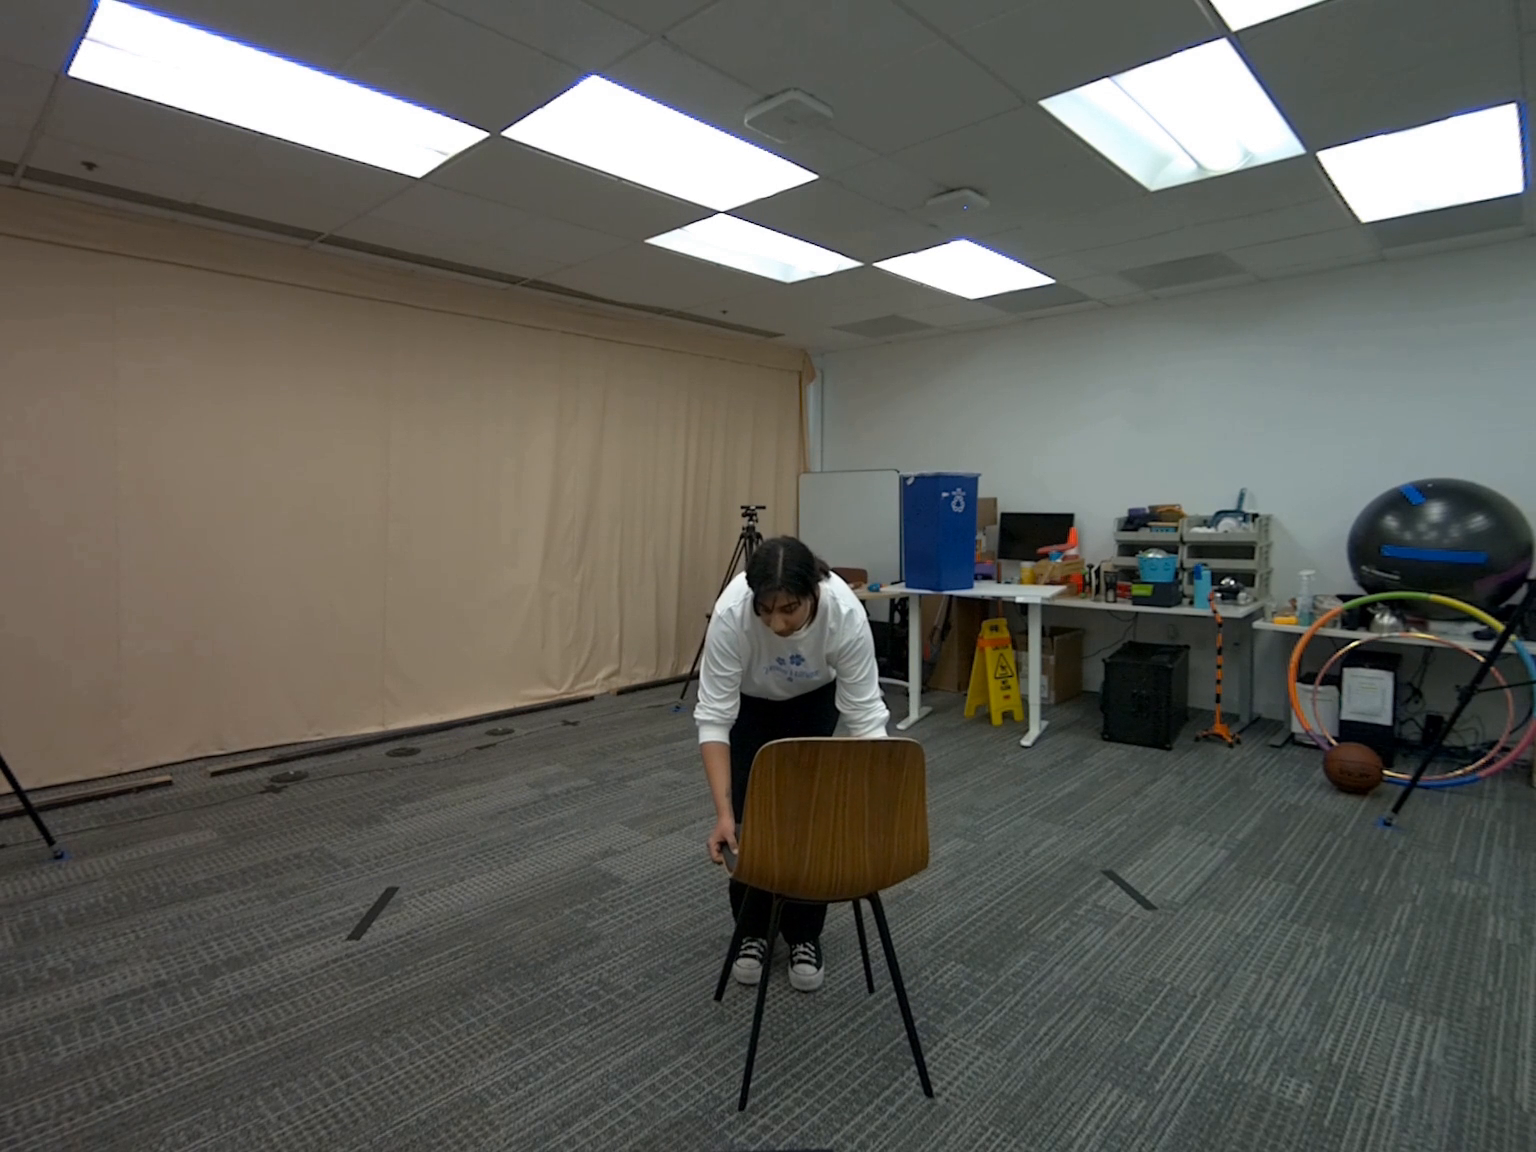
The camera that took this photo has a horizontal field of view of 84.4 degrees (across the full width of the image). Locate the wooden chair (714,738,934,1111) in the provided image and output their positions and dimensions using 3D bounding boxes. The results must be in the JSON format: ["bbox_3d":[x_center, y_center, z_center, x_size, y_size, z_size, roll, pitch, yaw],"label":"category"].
[{"bbox_3d":[0.125,0.747,2.115,0.474,0.874,0.529,0,6,-8],"label":"wooden chair"}]
